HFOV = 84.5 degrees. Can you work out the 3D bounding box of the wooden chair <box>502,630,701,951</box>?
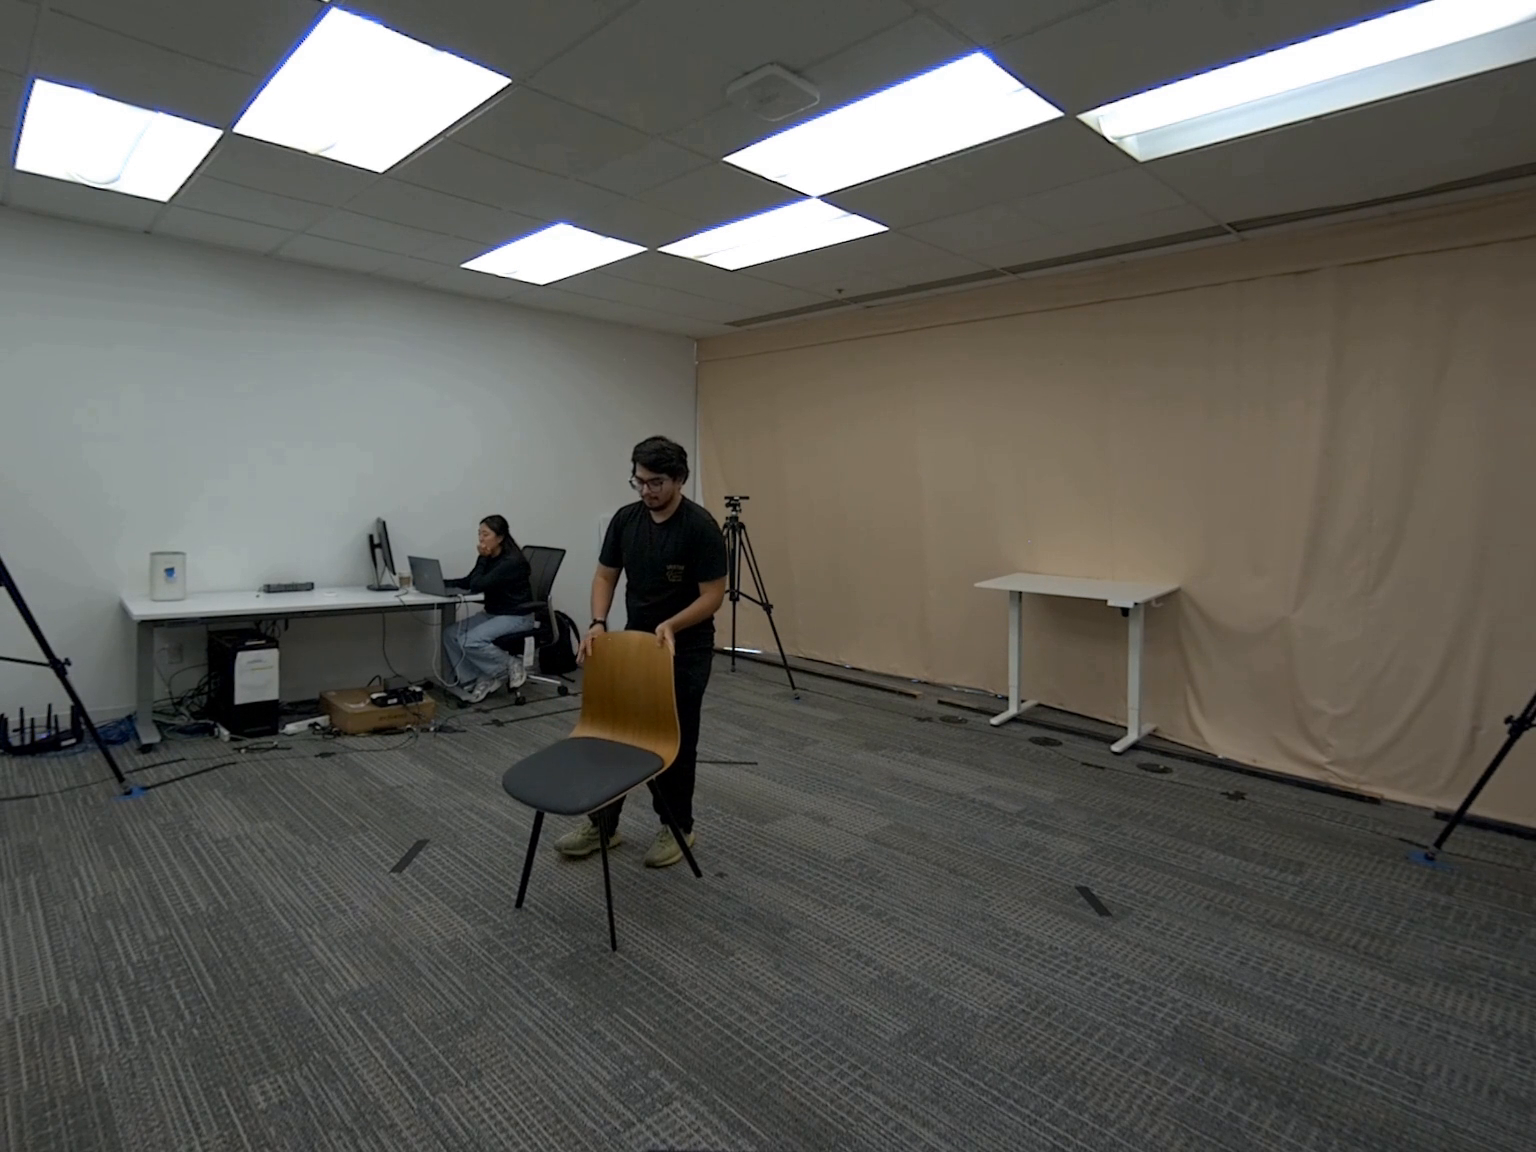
[{"bbox_3d":[-0.574,0.671,2.773,0.489,0.872,0.514,4,10,34],"label":"wooden chair"}]
